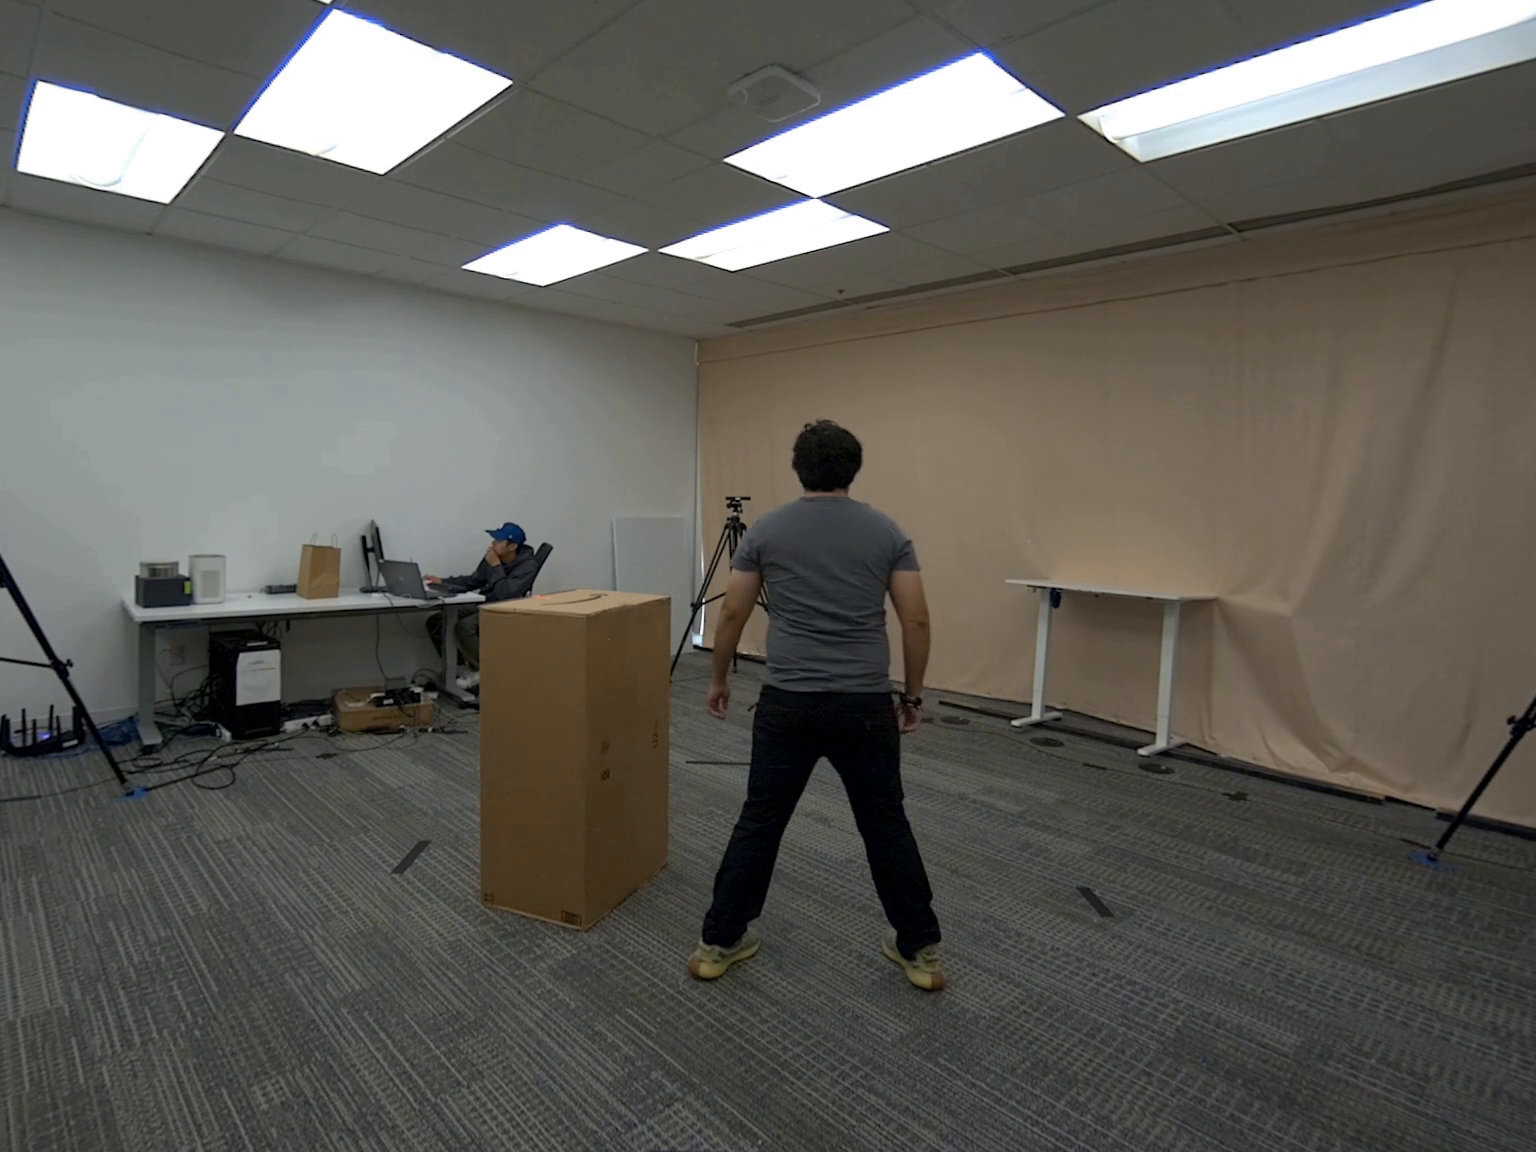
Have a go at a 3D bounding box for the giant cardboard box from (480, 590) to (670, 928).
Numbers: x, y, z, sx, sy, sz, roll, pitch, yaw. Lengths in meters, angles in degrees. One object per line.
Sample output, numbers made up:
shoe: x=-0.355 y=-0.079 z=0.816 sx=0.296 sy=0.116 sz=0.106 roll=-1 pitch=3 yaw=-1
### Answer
giant cardboard box: x=-0.677 y=0.598 z=2.997 sx=0.455 sy=1.024 sz=0.575 roll=3 pitch=4 yaw=22
